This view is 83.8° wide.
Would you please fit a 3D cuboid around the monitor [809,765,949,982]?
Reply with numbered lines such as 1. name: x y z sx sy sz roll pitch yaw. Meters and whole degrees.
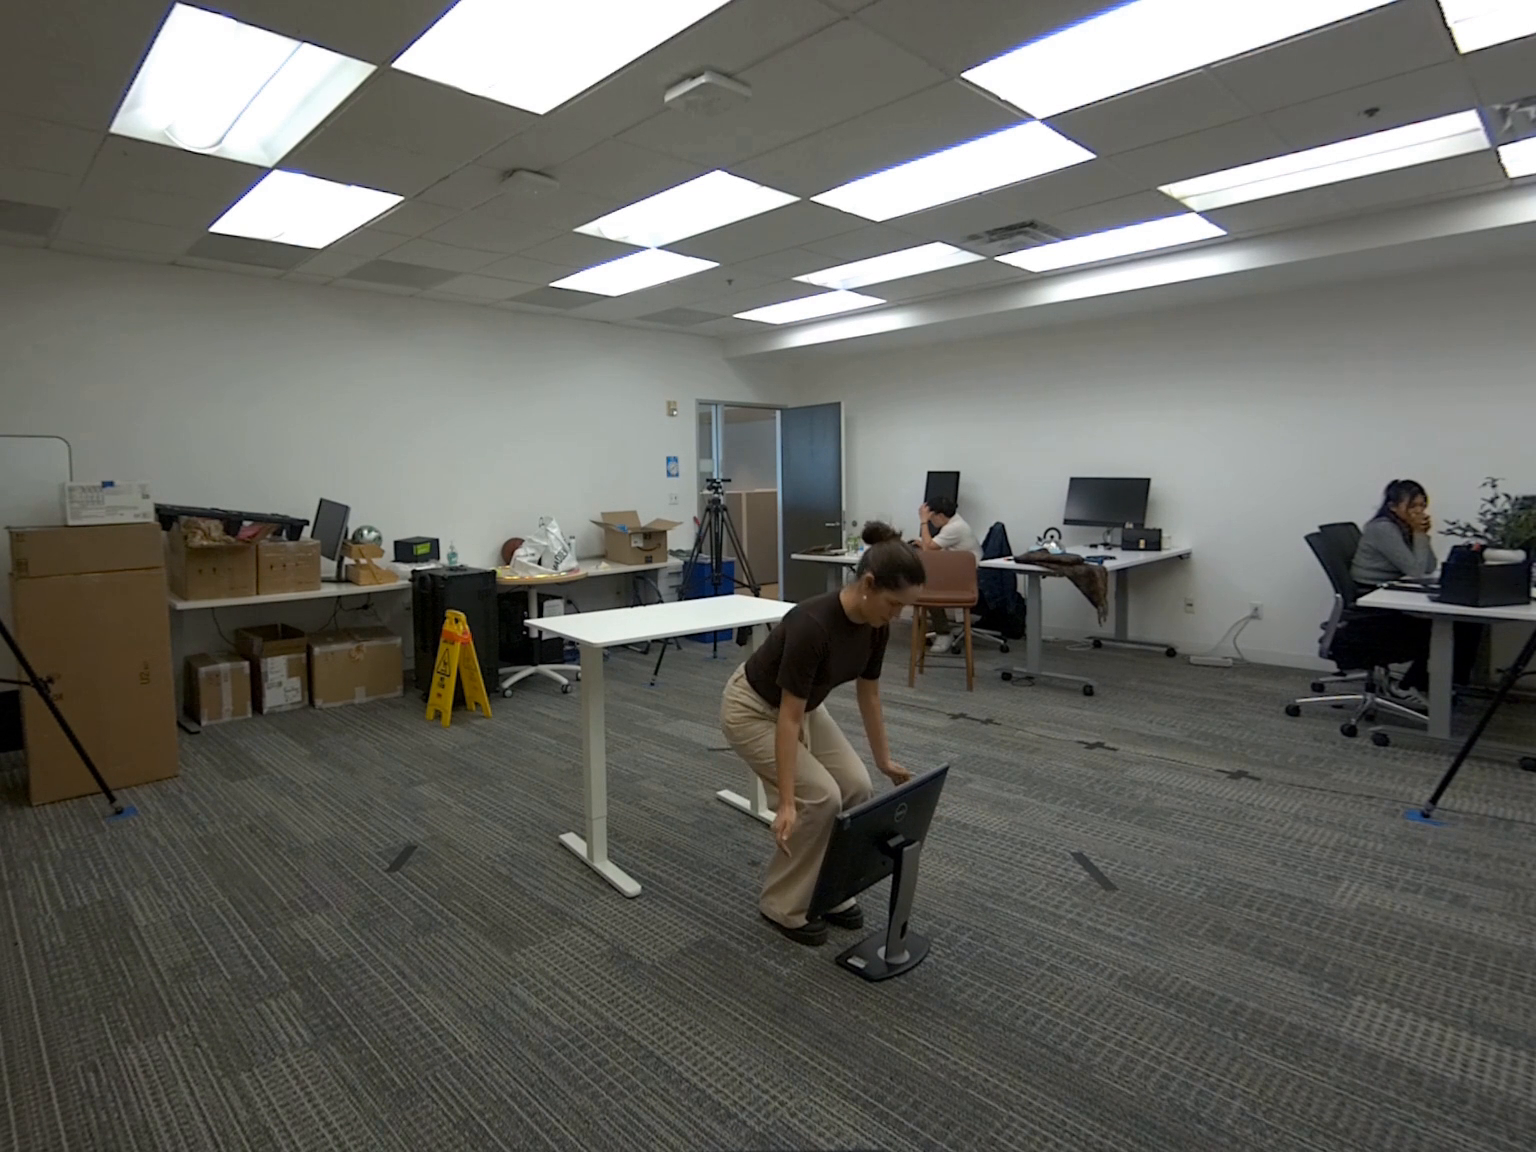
1. monitor: 0.361 0.864 2.454 0.525 0.519 0.193 -7 12 -44
